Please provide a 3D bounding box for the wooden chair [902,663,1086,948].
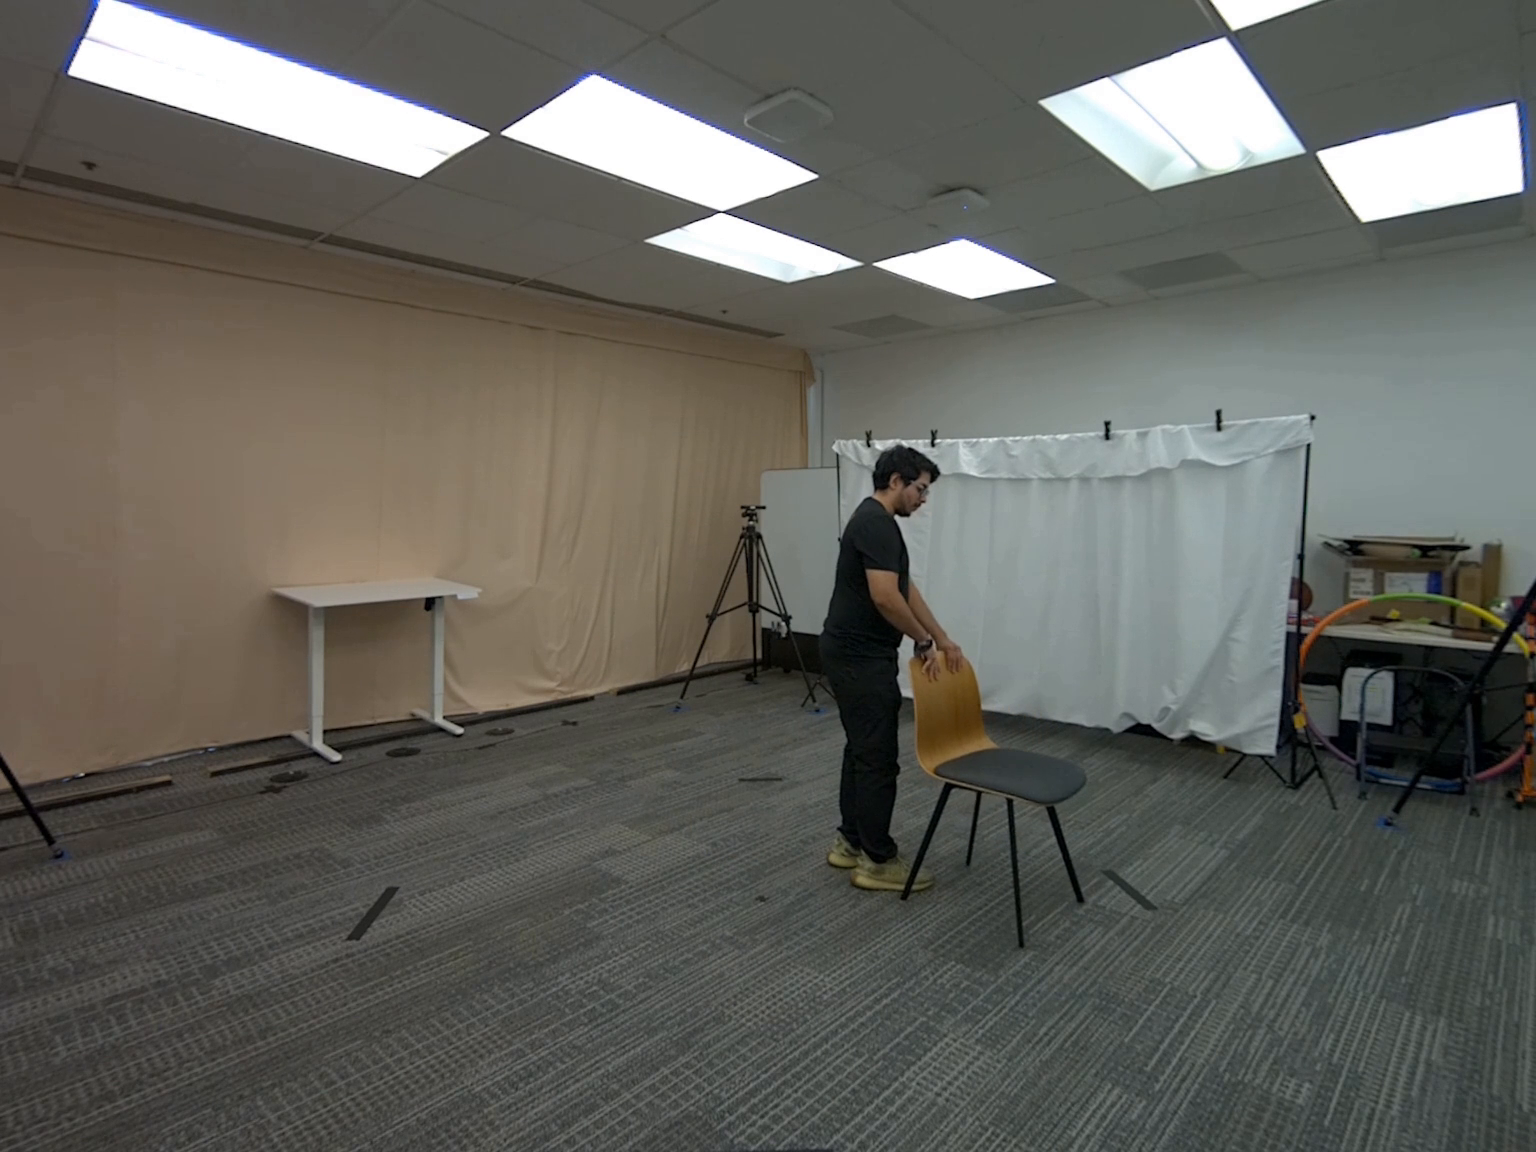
[{"bbox_3d":[0.801,0.719,2.920,0.463,0.878,0.539,-2,-1,-45],"label":"wooden chair"}]
